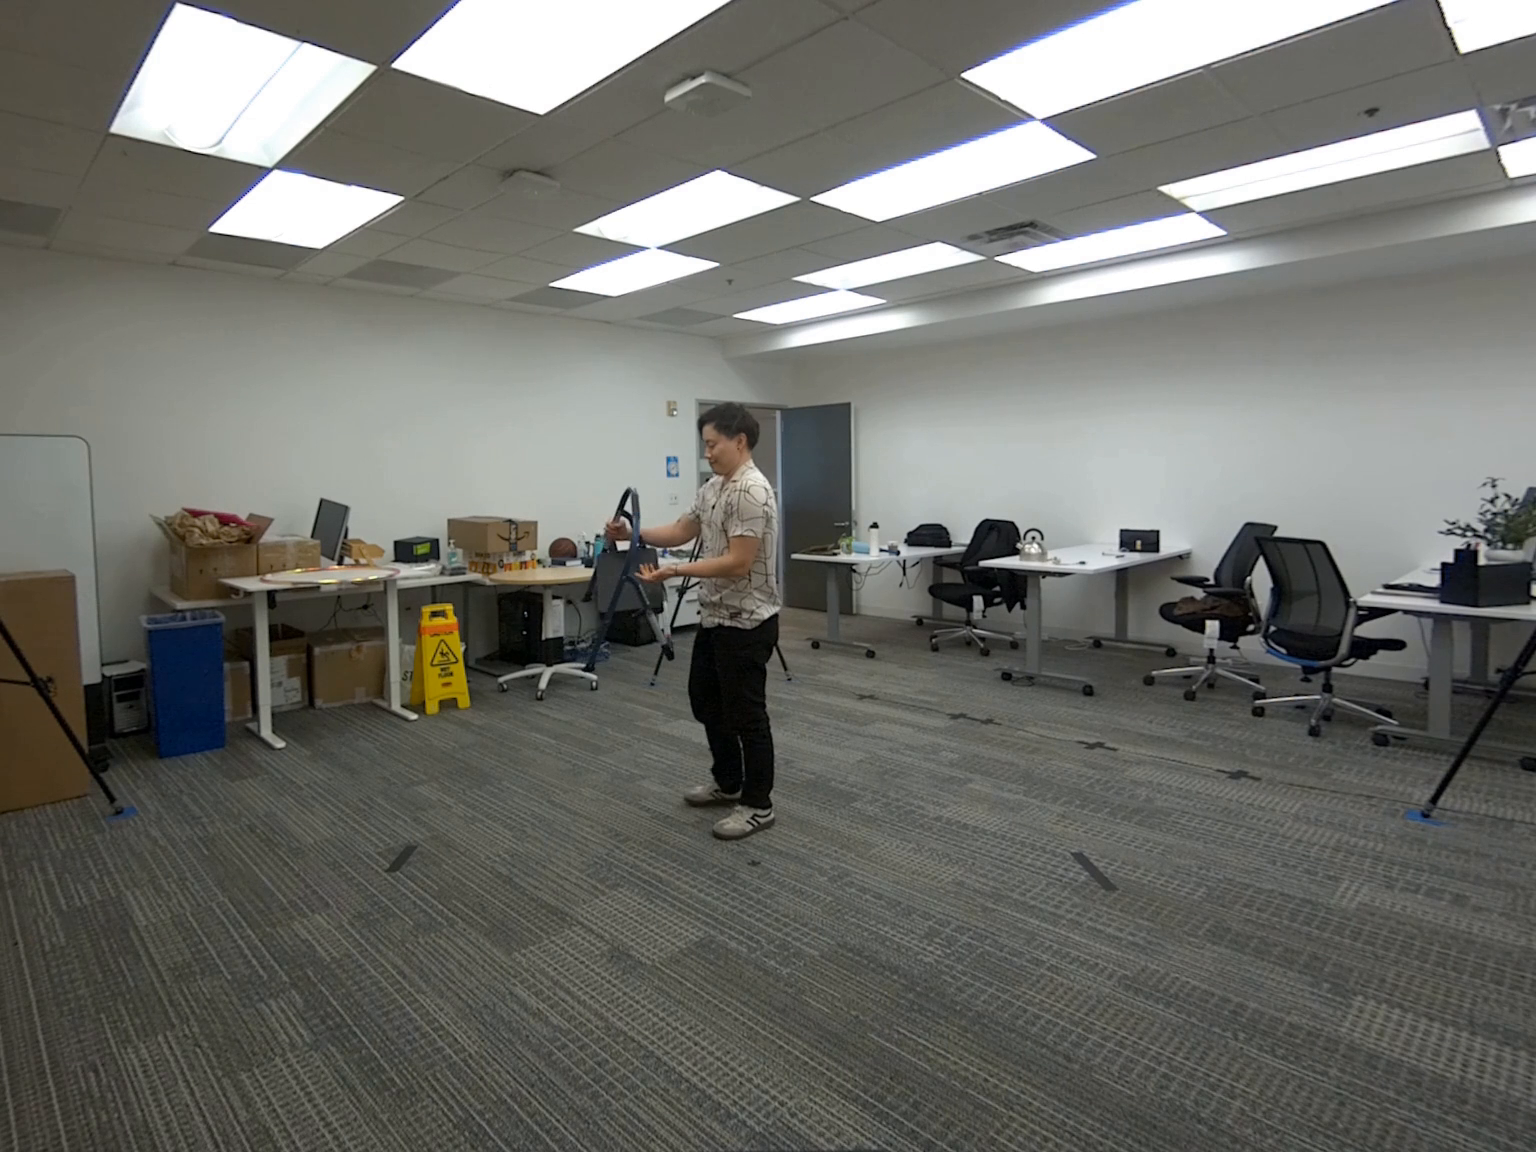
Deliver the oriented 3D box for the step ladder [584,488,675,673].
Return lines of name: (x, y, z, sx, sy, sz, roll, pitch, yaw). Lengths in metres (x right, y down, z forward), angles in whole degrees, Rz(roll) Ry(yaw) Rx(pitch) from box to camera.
step ladder: (-0.562, -0.016, 3.219, 0.347, 0.590, 0.445, -6, 38, -8)
